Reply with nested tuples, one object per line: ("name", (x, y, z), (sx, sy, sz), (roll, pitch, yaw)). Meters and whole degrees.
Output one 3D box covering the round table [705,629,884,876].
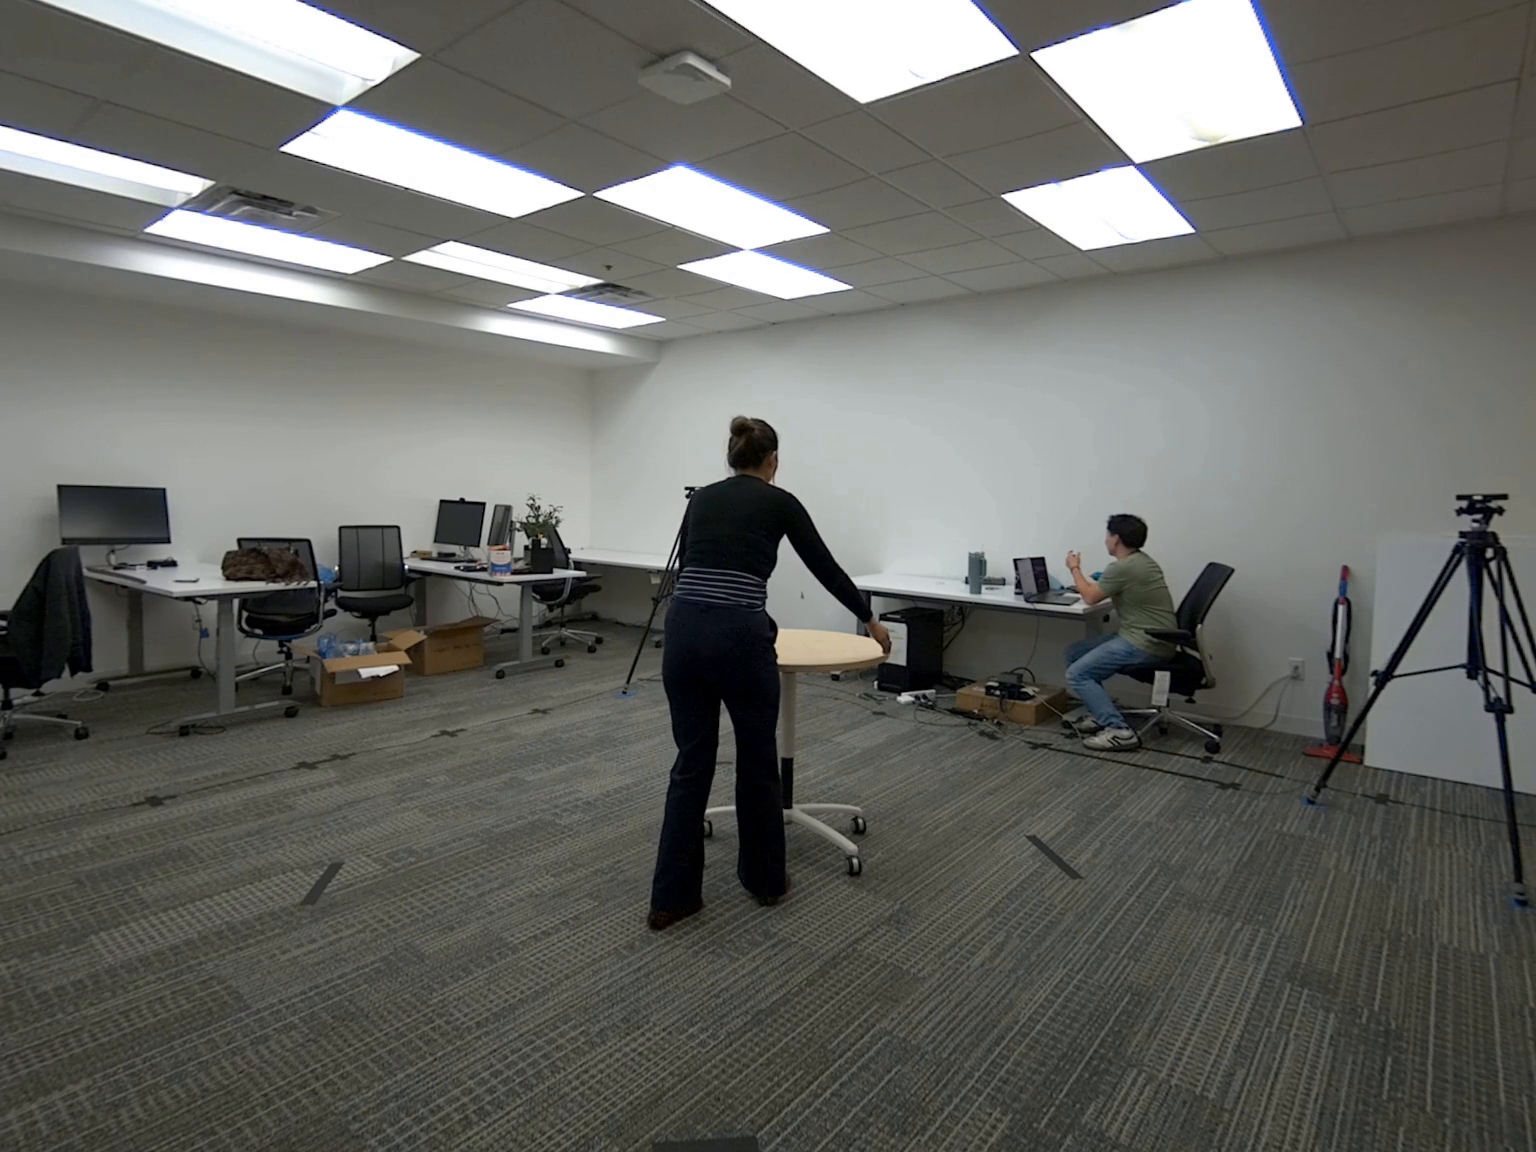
("round table", (0.068, 0.657, 3.333), (0.763, 0.791, 0.768), (1, 4, -2))
